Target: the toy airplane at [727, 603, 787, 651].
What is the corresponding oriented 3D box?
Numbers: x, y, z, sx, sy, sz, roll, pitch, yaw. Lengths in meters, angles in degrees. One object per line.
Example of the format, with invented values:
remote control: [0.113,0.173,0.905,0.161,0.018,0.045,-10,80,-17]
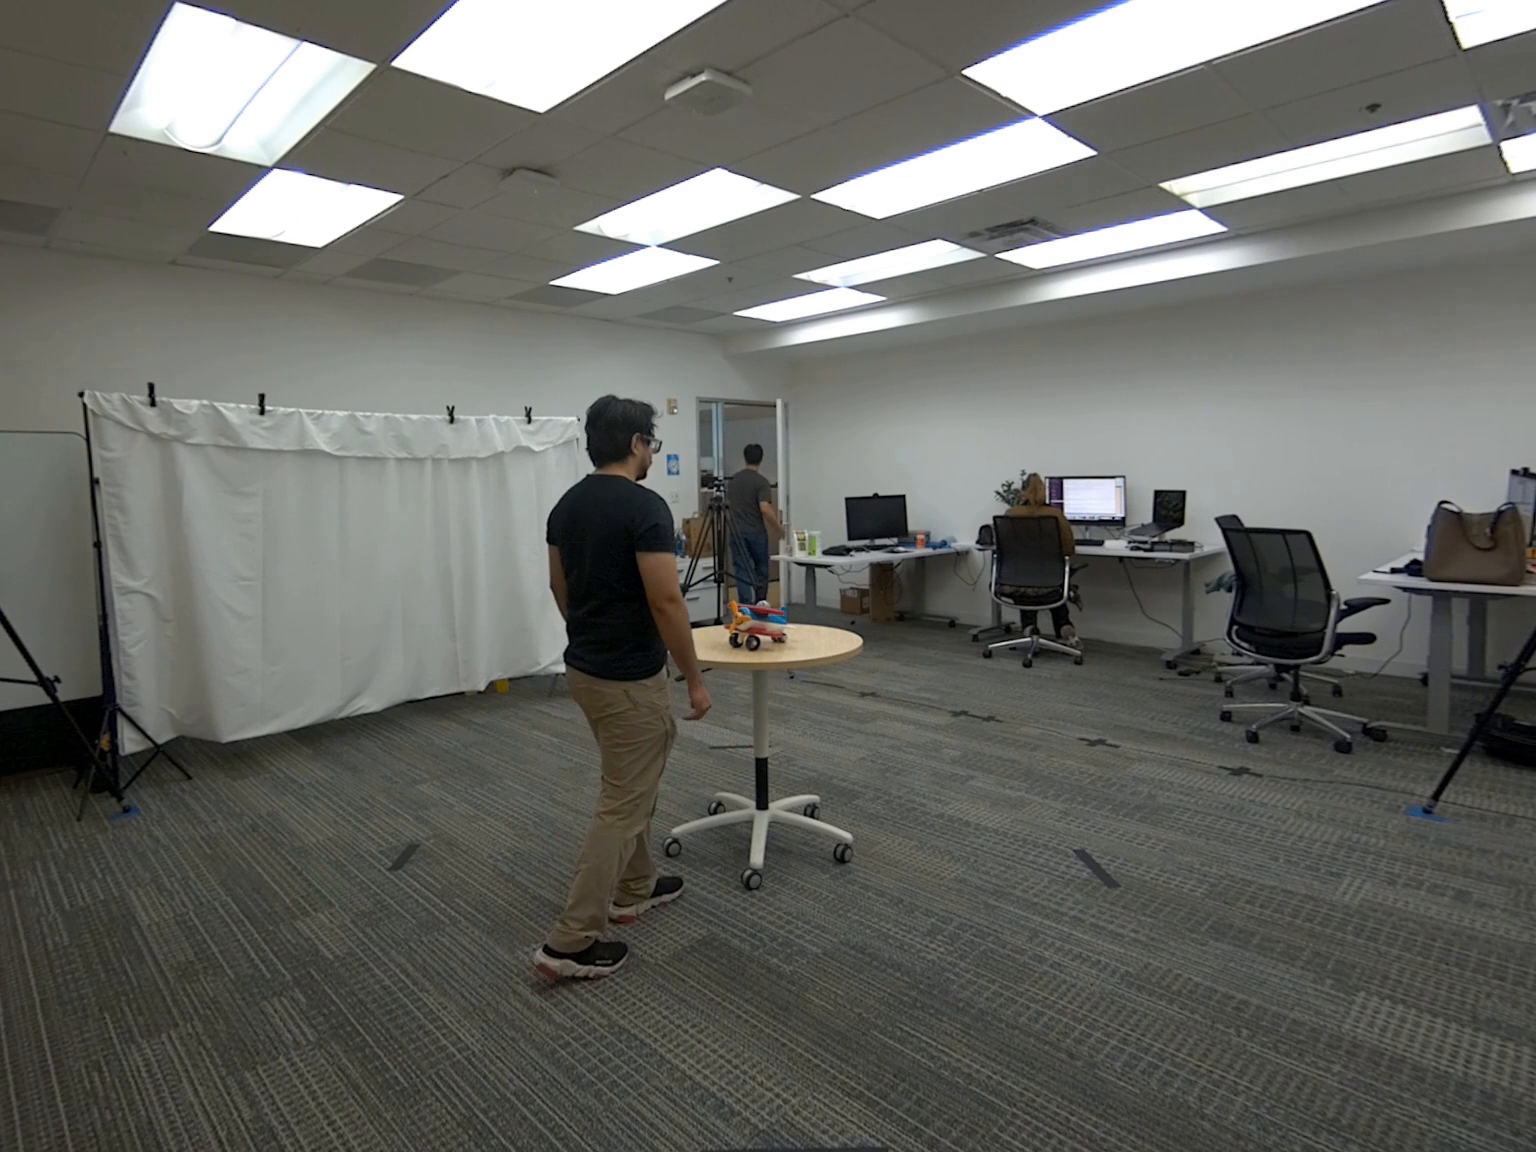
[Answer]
toy airplane: [-0.046,0.175,3.113,0.256,0.155,0.256,1,8,20]
